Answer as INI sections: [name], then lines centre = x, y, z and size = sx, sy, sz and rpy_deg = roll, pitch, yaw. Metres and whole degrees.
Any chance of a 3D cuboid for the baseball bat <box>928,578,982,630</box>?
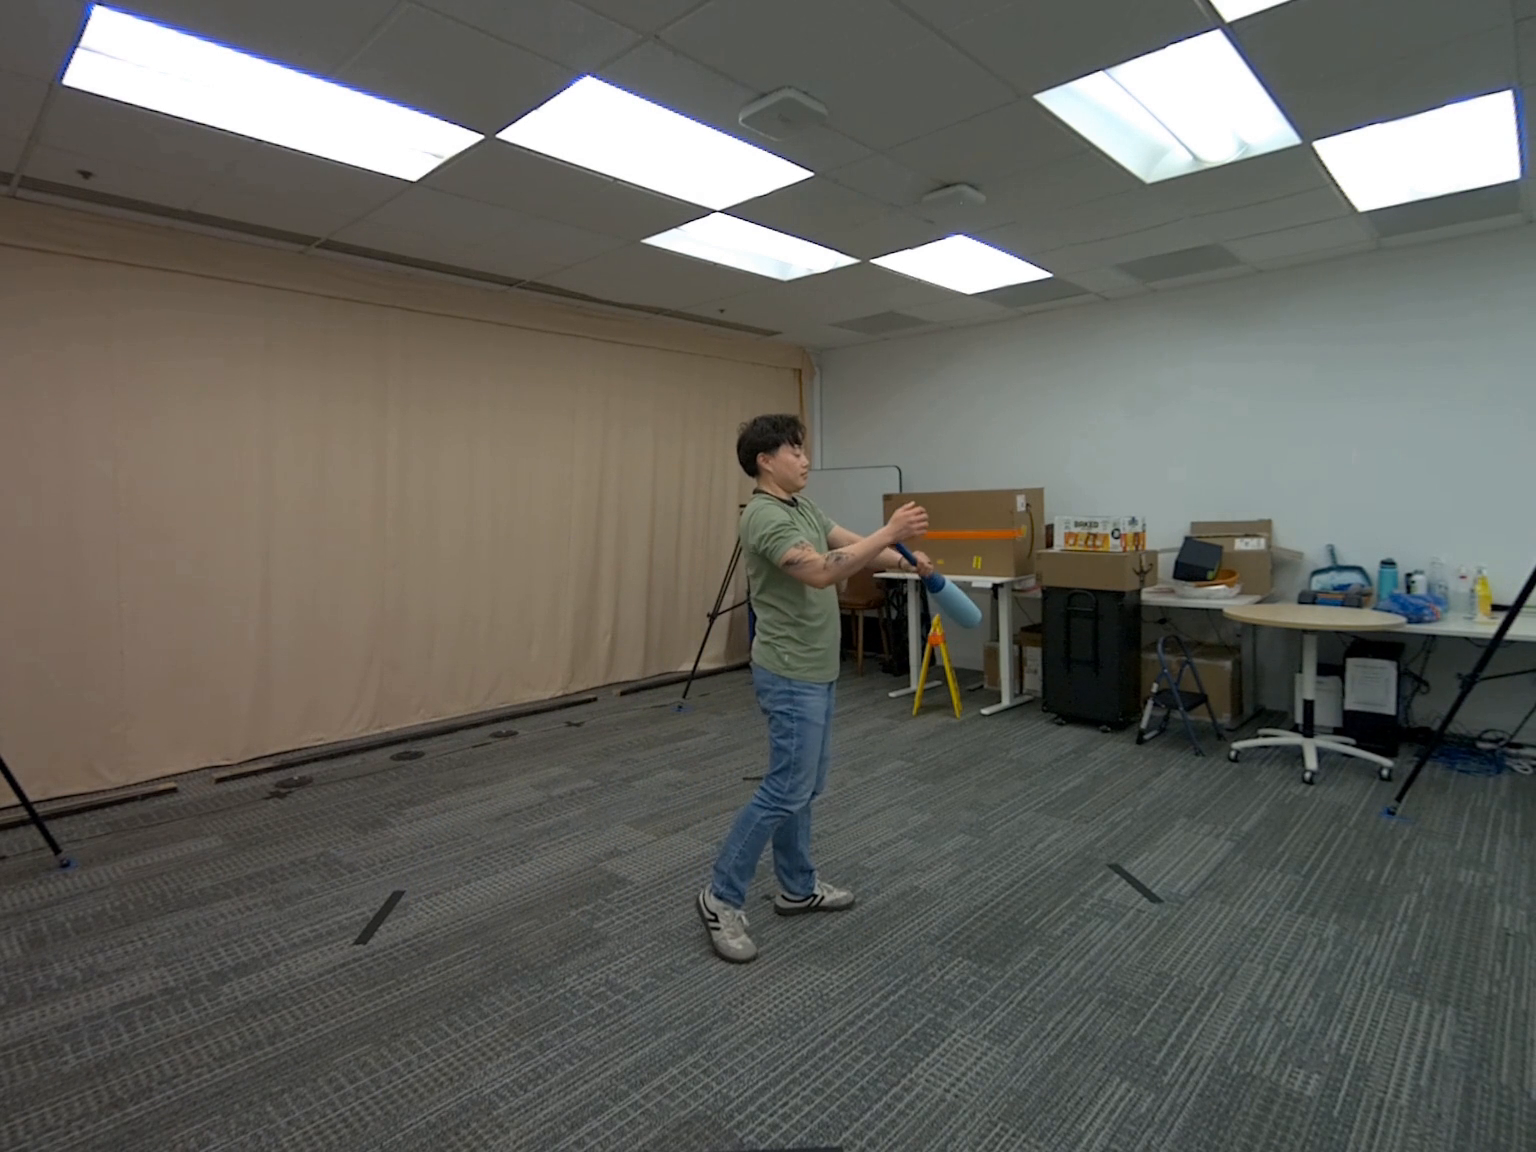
[baseball bat]
centre = 0.544, 0.020, 2.723
size = 0.092, 0.089, 0.525
rpy_deg = 3, -28, 49
